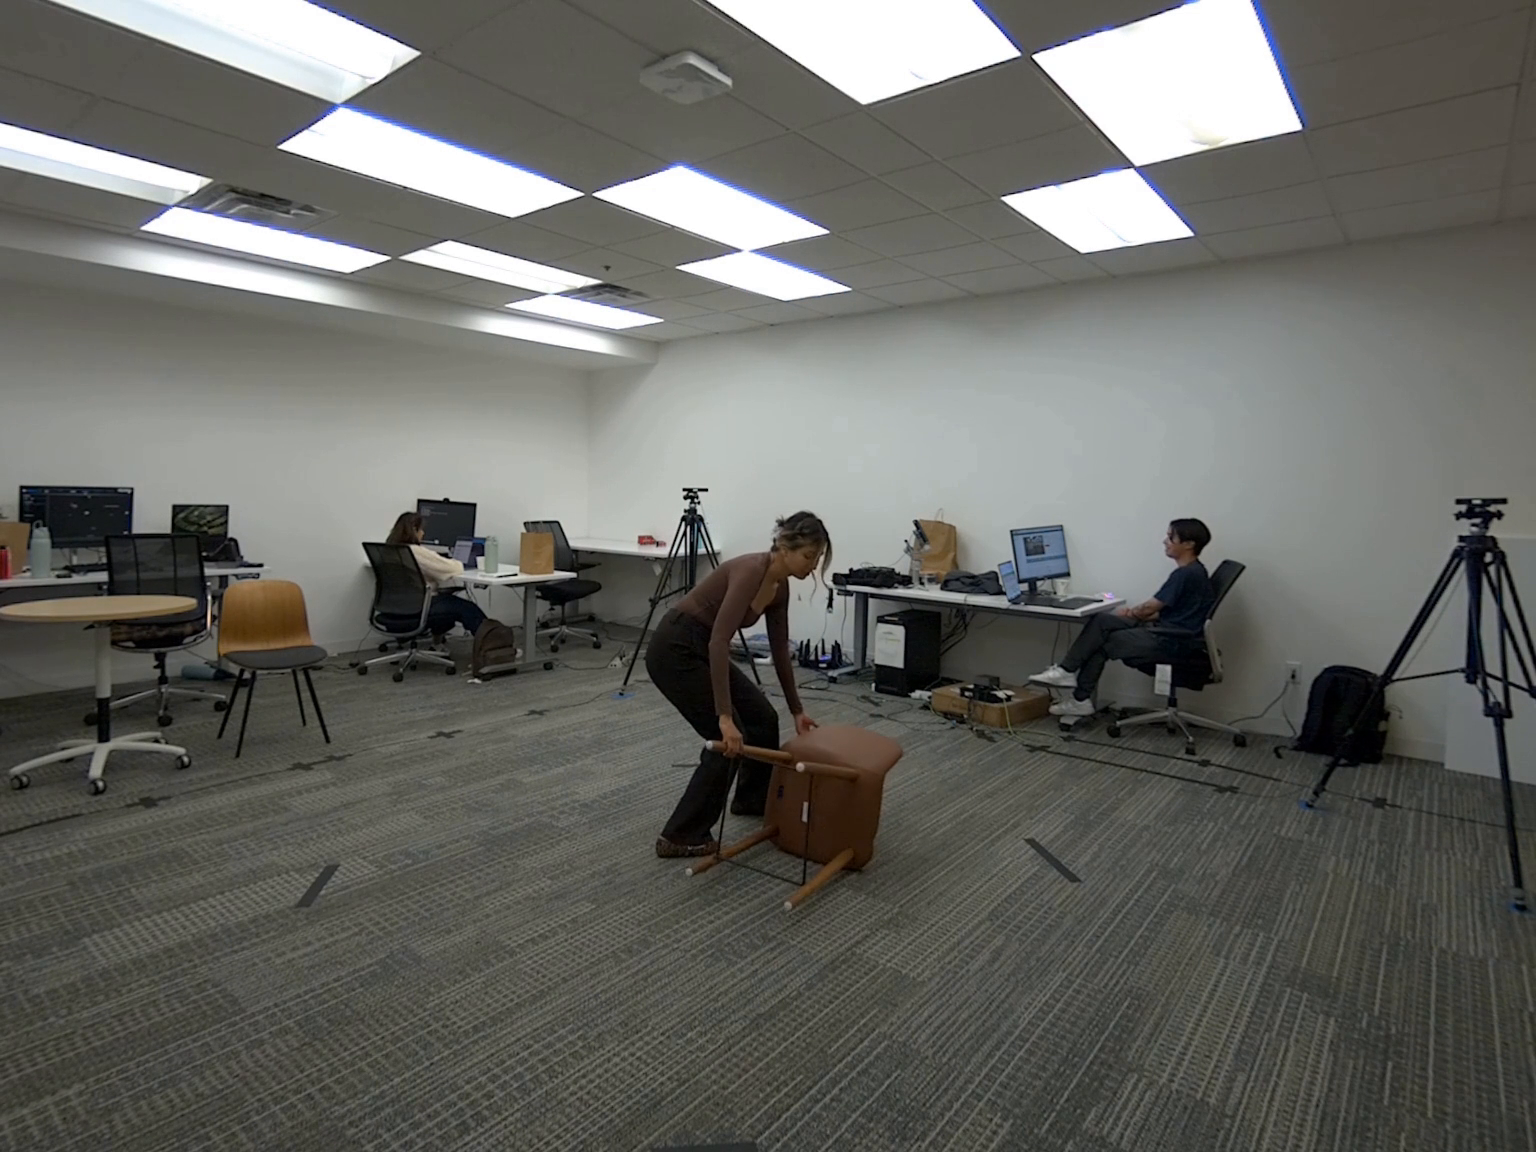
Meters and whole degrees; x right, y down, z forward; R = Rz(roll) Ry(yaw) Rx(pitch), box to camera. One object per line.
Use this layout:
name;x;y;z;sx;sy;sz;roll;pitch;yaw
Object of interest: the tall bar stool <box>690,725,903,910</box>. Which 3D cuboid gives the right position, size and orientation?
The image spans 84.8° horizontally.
tall bar stool;0.131;0.831;3.126;0.470;0.468;0.861;5;-1;31
